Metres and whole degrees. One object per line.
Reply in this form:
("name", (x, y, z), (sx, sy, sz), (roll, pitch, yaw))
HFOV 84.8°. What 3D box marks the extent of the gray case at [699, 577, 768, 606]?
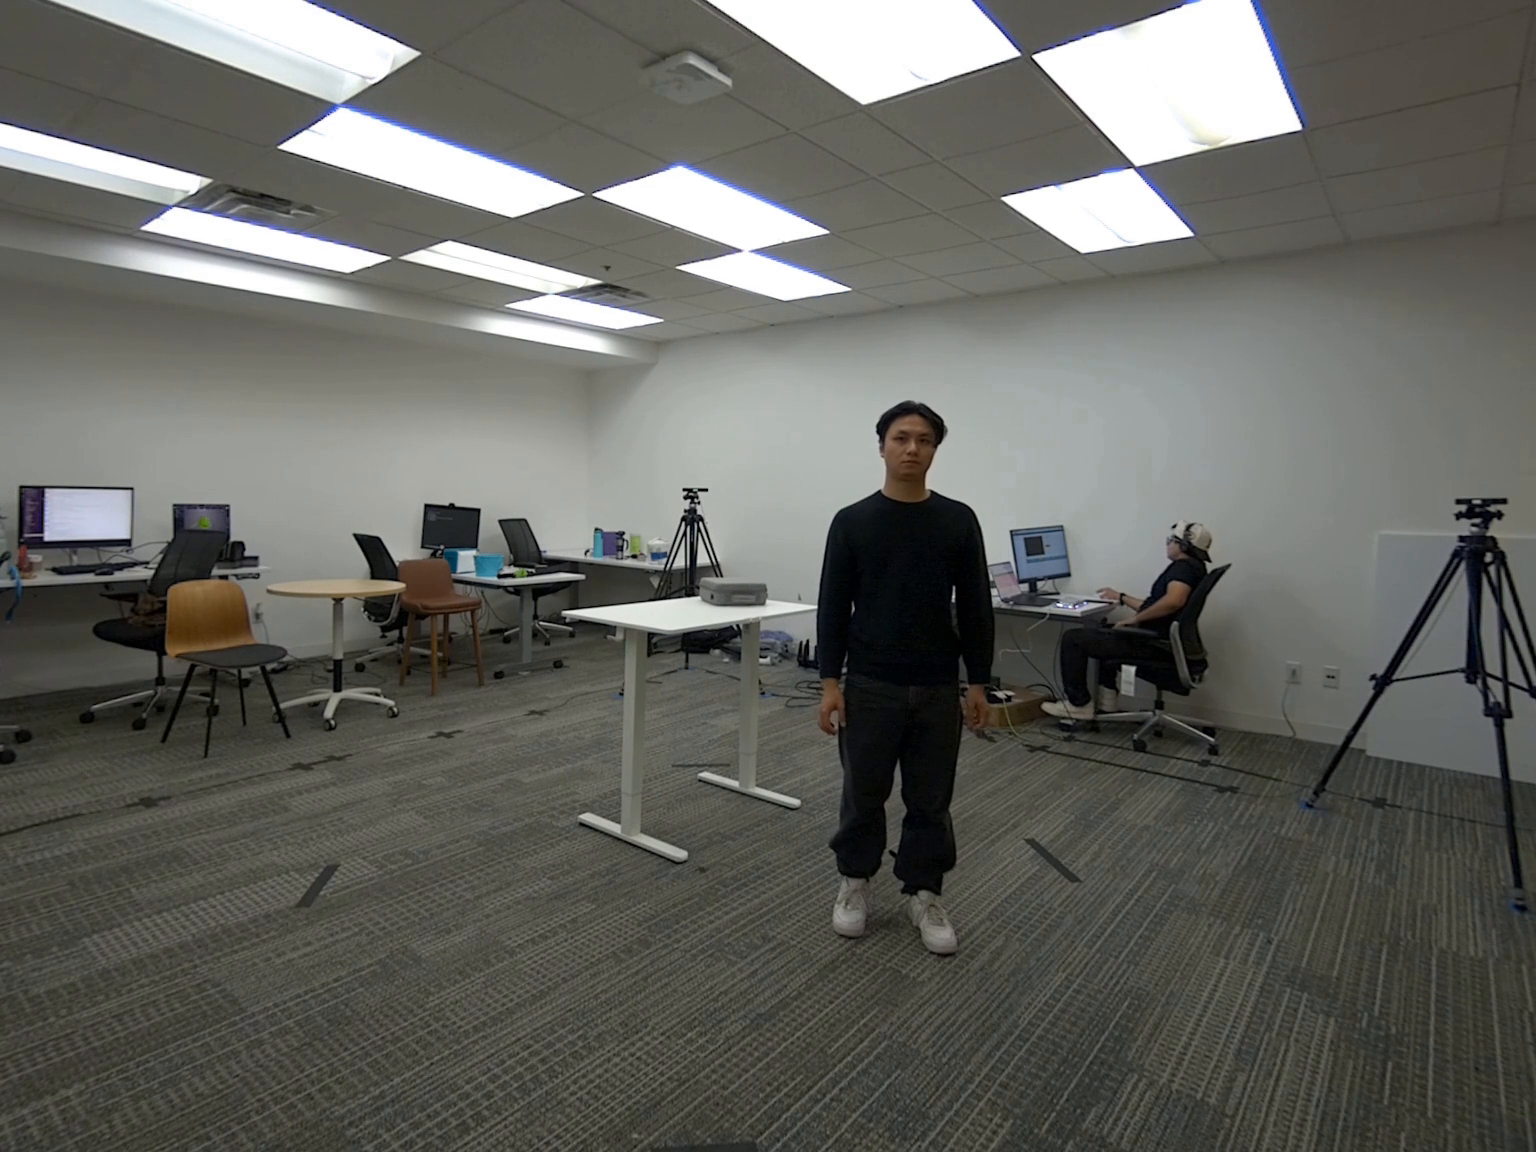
("gray case", (-0.166, 0.063, 3.856), (0.252, 0.104, 0.267), (0, 5, -20))
